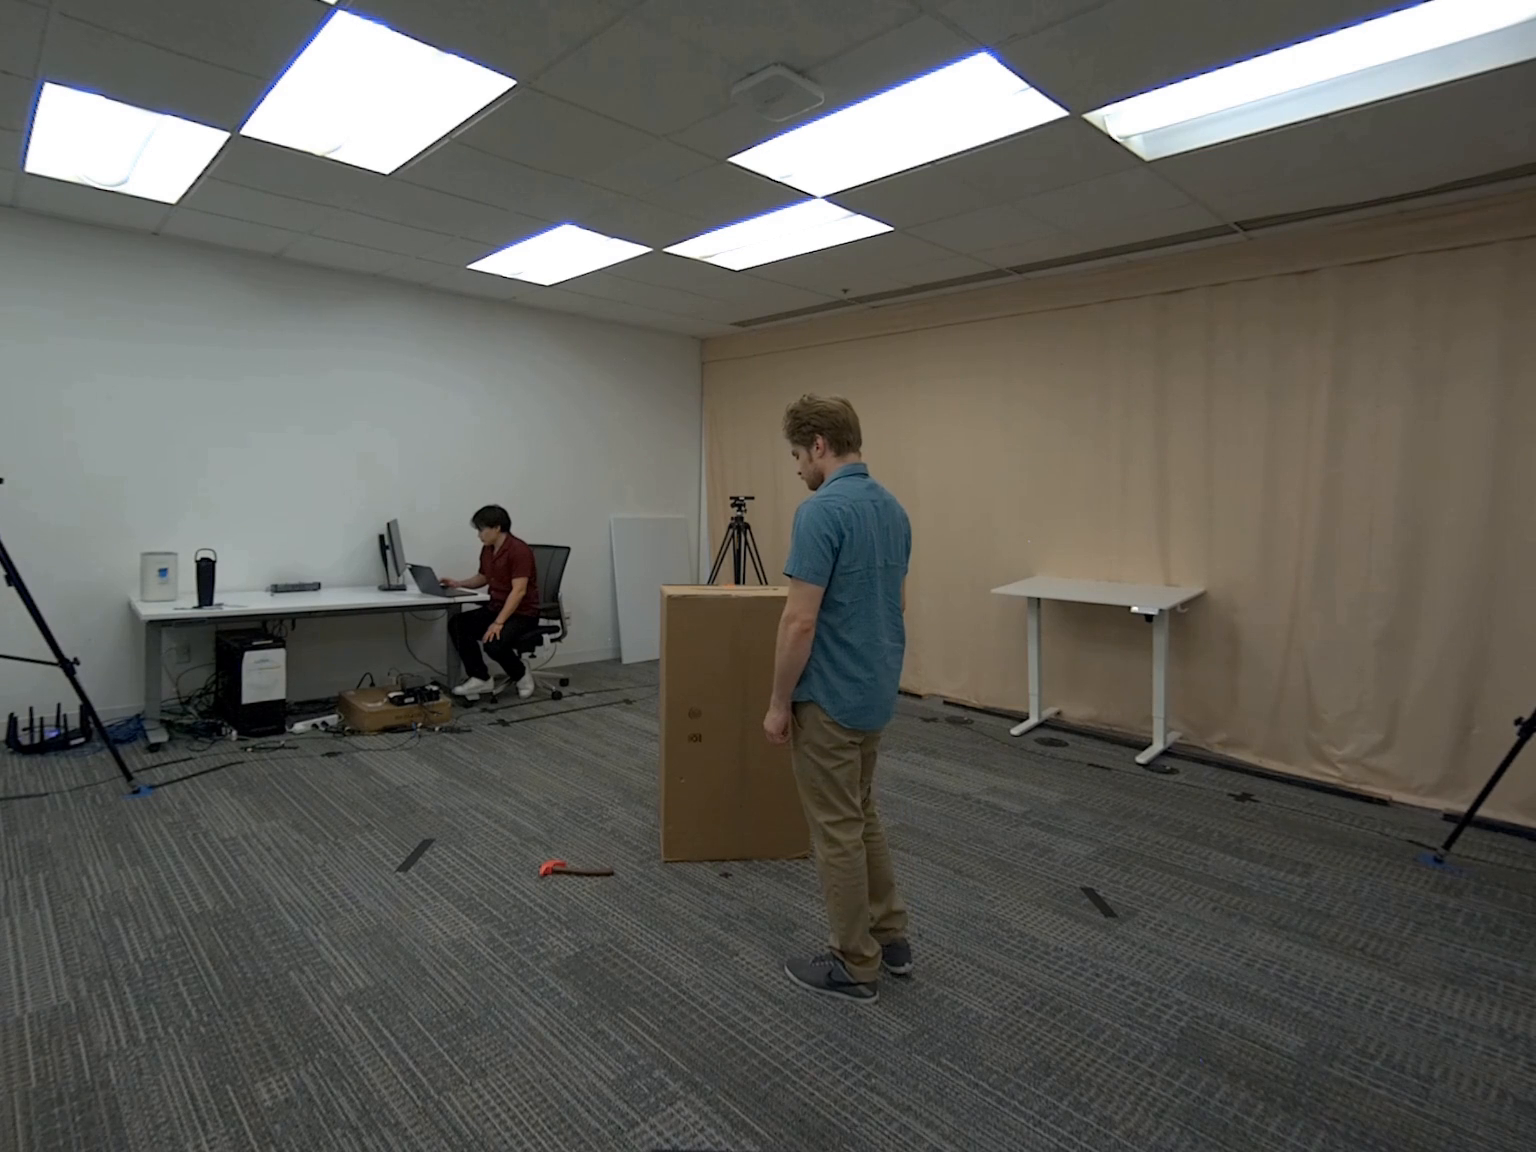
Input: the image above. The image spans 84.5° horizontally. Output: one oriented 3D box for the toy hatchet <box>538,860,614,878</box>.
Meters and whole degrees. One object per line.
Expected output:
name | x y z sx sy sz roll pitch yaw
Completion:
toy hatchet | -0.713 1.079 3.114 0.268 0.029 0.132 4 2 -9
